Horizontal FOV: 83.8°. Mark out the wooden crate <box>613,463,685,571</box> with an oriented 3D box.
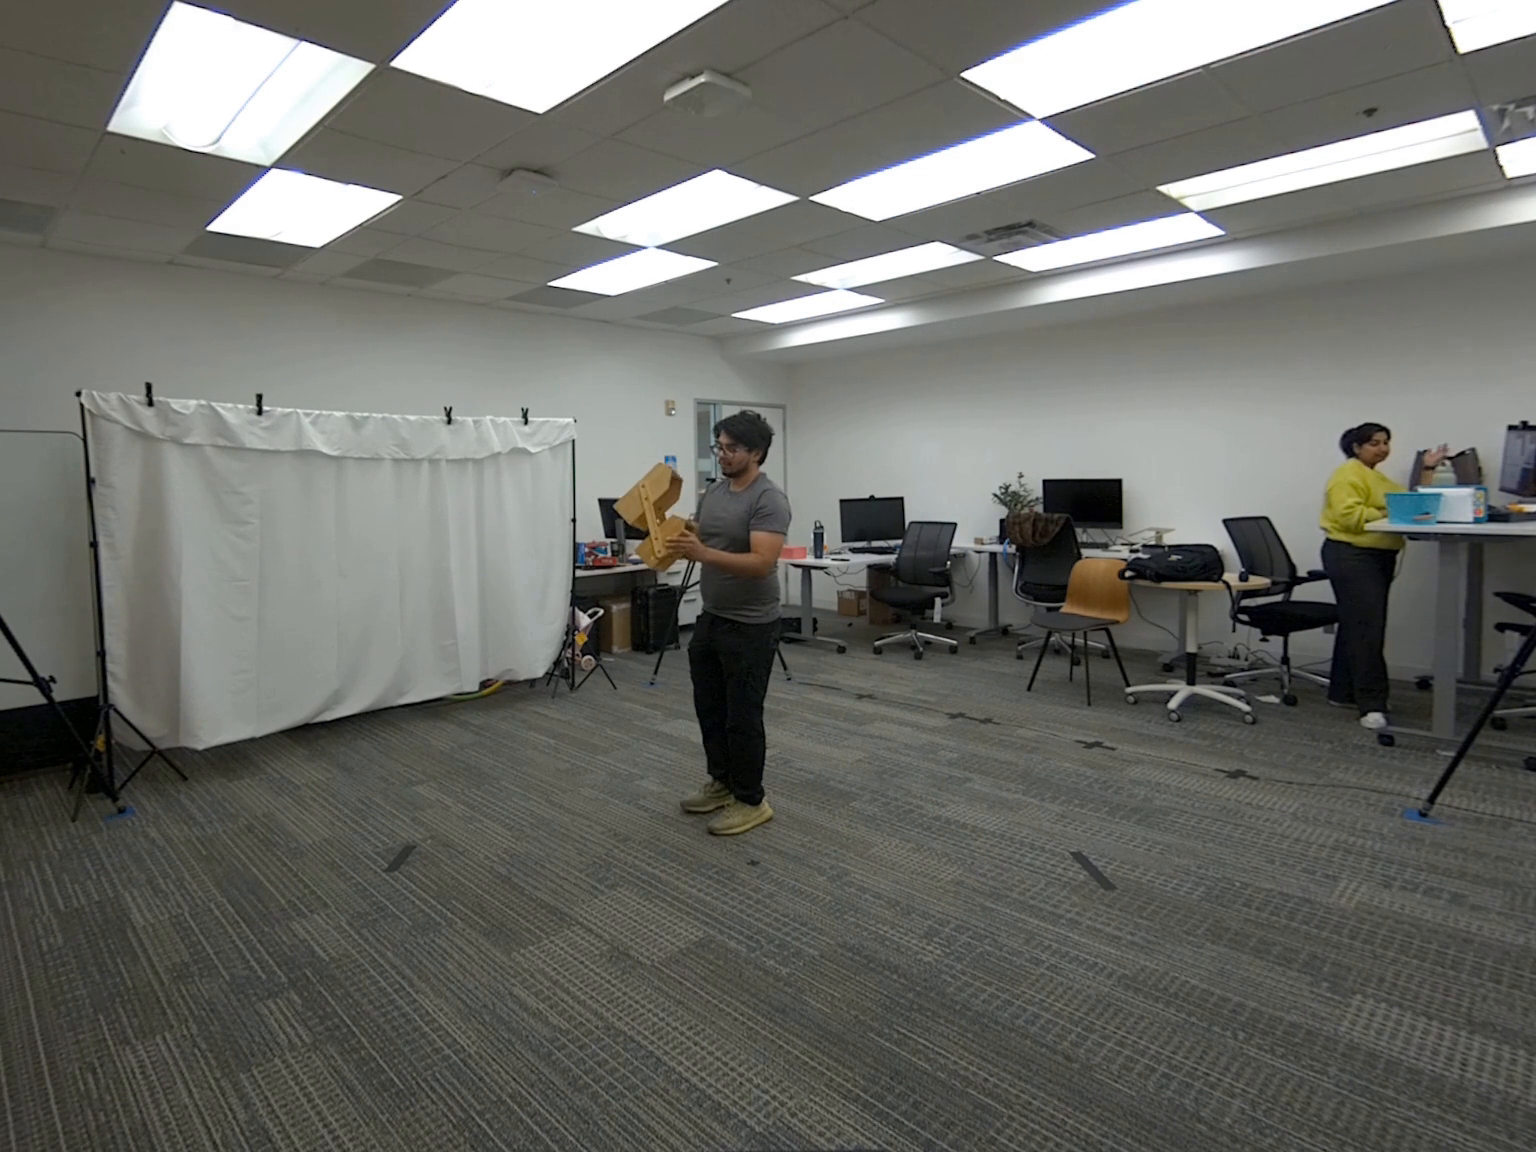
[{"bbox_3d":[-0.385,-0.214,3.172,0.302,0.276,0.322,-43,-5,1],"label":"wooden crate"}]
